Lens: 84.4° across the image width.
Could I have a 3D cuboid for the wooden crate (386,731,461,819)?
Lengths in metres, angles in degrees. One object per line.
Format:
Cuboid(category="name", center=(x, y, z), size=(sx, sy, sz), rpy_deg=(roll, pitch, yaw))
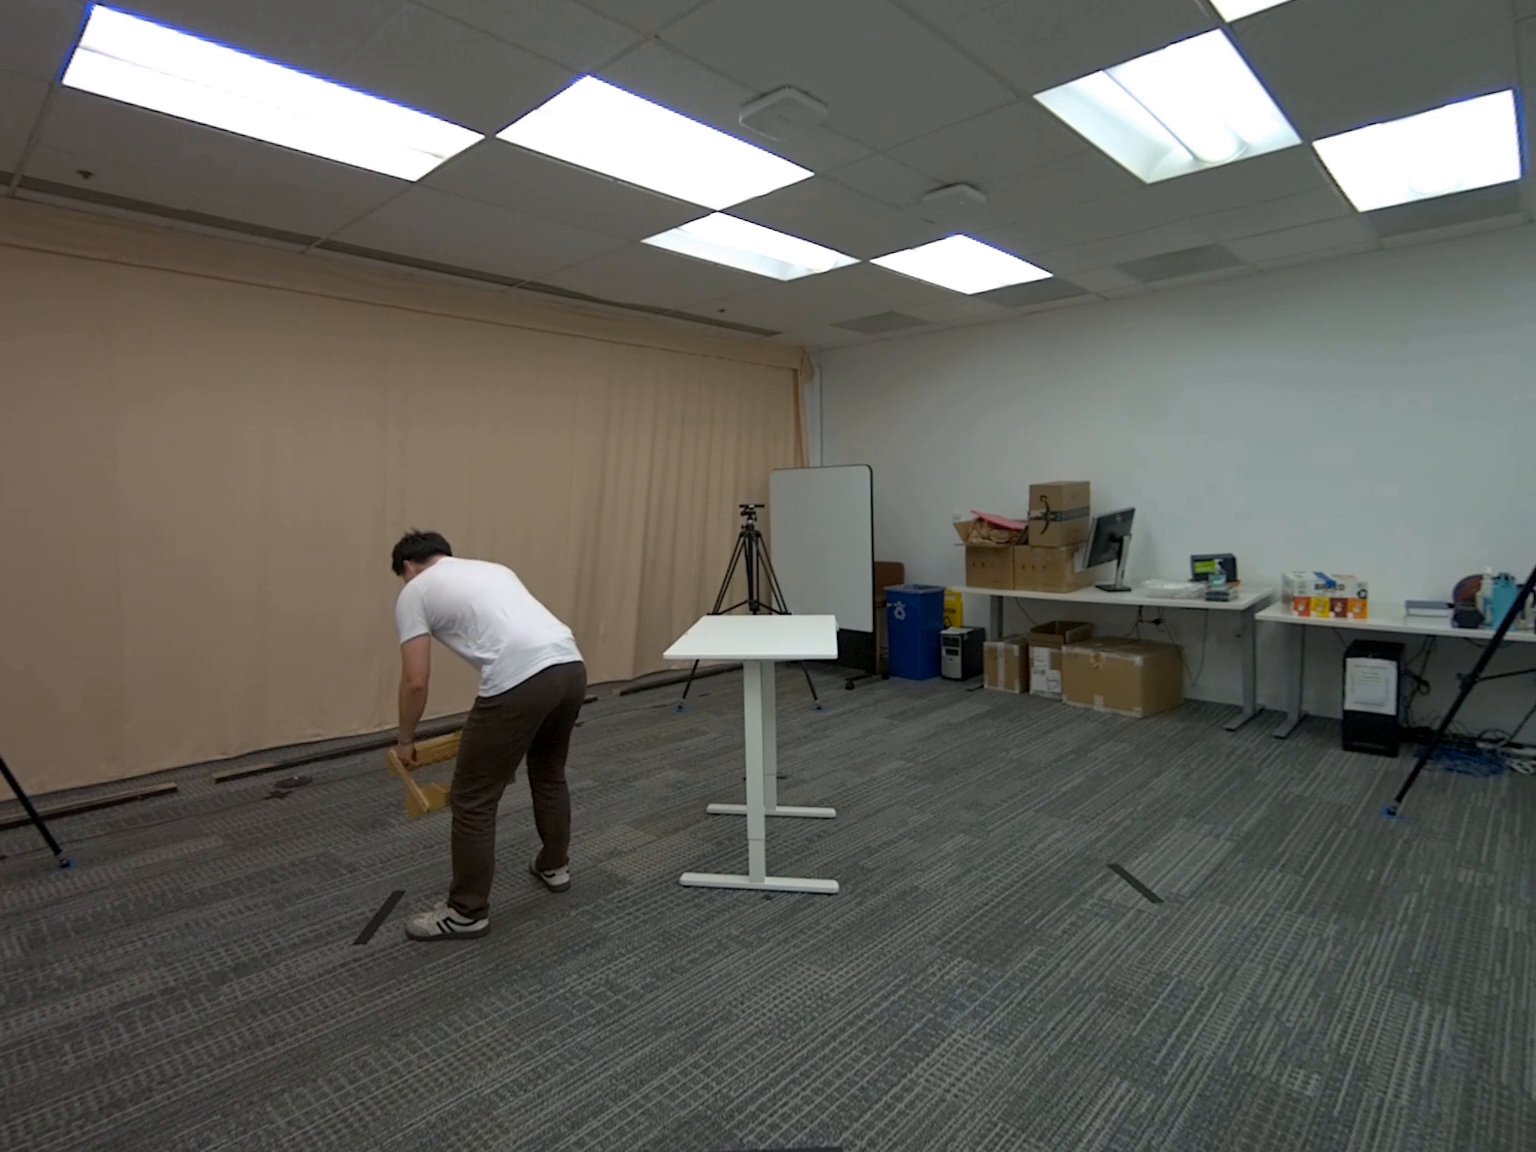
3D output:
Cuboid(category="wooden crate", center=(-1.142, 0.682, 3.044), size=(0.308, 0.276, 0.315), rpy_deg=(-26, -11, 34))
